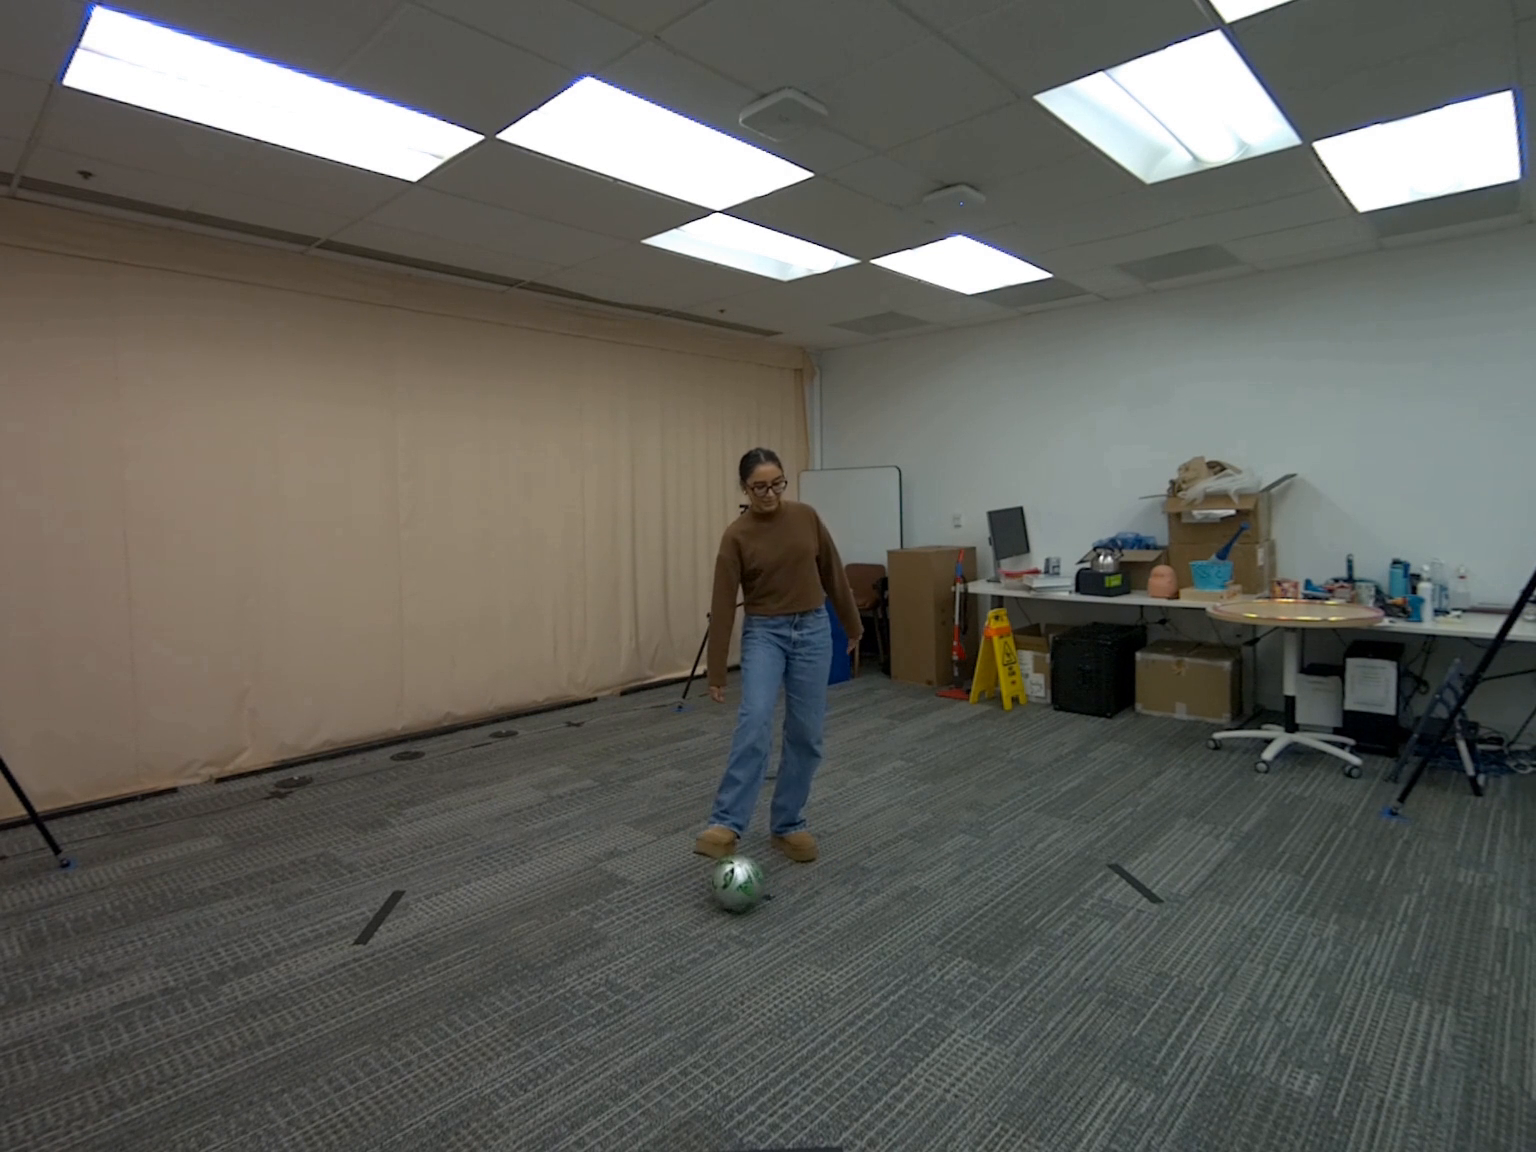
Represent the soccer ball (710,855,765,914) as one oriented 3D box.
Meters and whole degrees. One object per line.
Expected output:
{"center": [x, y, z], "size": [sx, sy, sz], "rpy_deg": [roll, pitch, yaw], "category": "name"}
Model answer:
{"center": [-0.090, 1.053, 2.900], "size": [0.187, 0.187, 0.188], "rpy_deg": [-1, 4, -2], "category": "soccer ball"}
